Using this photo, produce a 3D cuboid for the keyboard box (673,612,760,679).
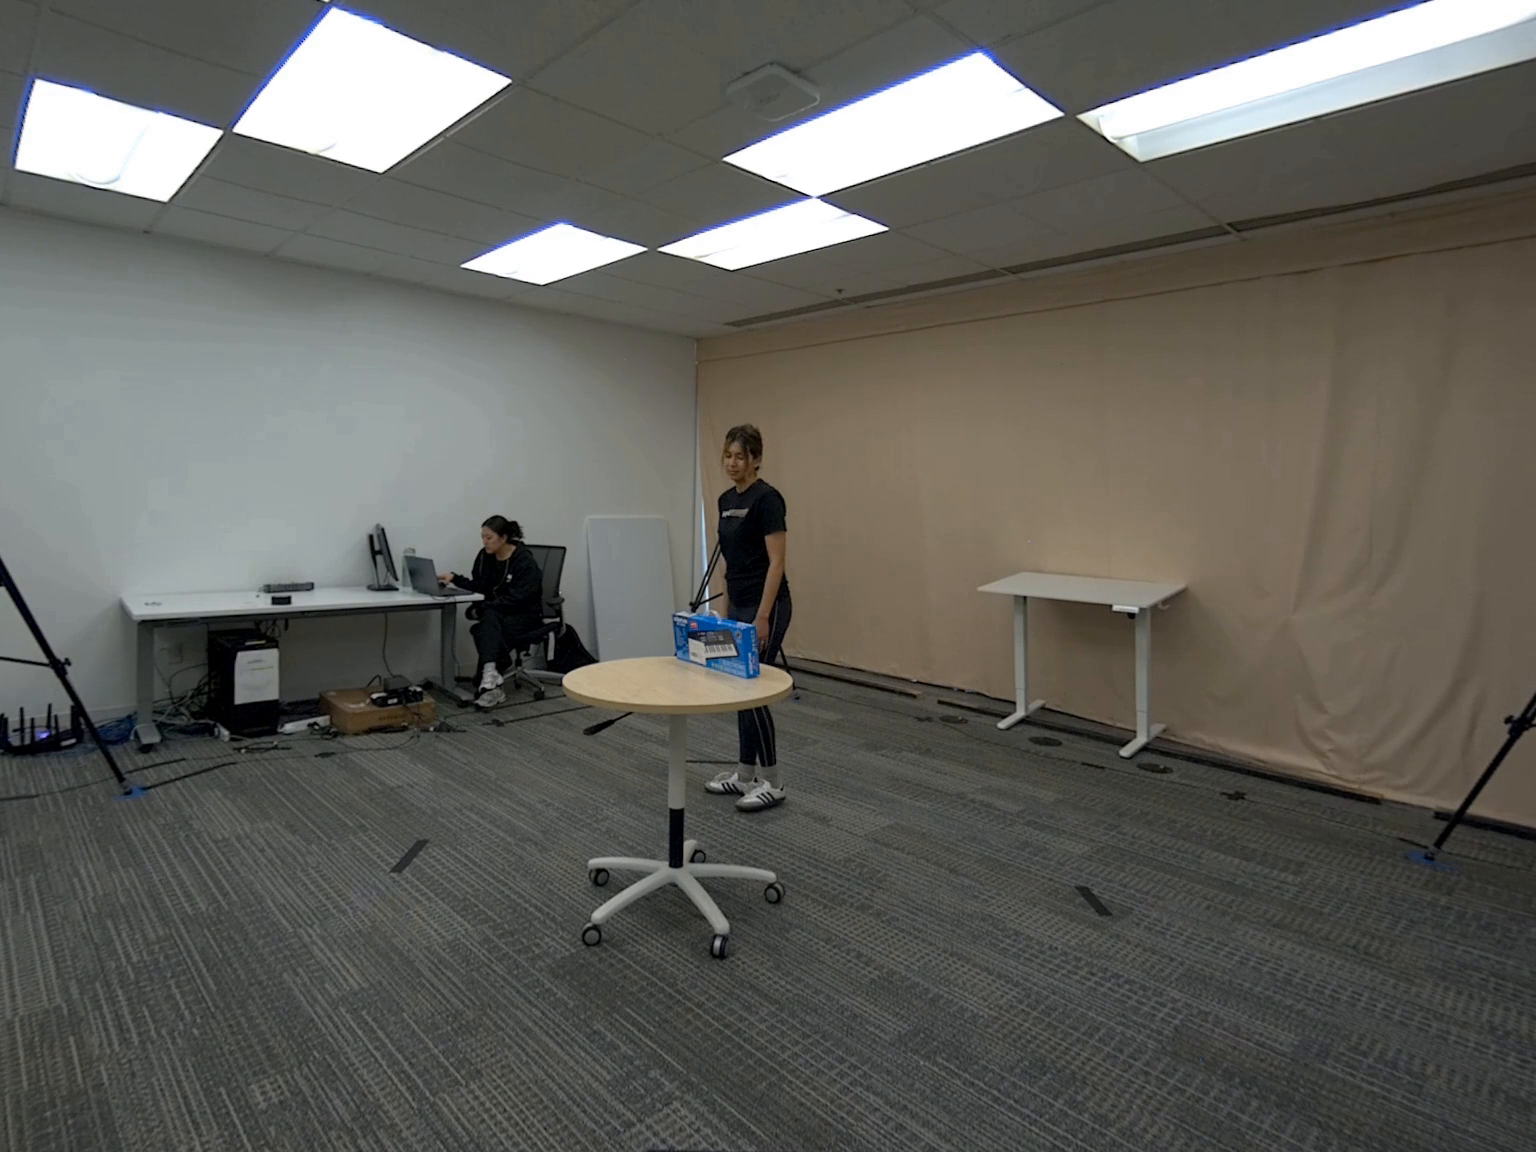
[{"bbox_3d":[-0.201,0.243,2.988,0.058,0.175,0.448,-11,11,-37],"label":"keyboard box"}]
